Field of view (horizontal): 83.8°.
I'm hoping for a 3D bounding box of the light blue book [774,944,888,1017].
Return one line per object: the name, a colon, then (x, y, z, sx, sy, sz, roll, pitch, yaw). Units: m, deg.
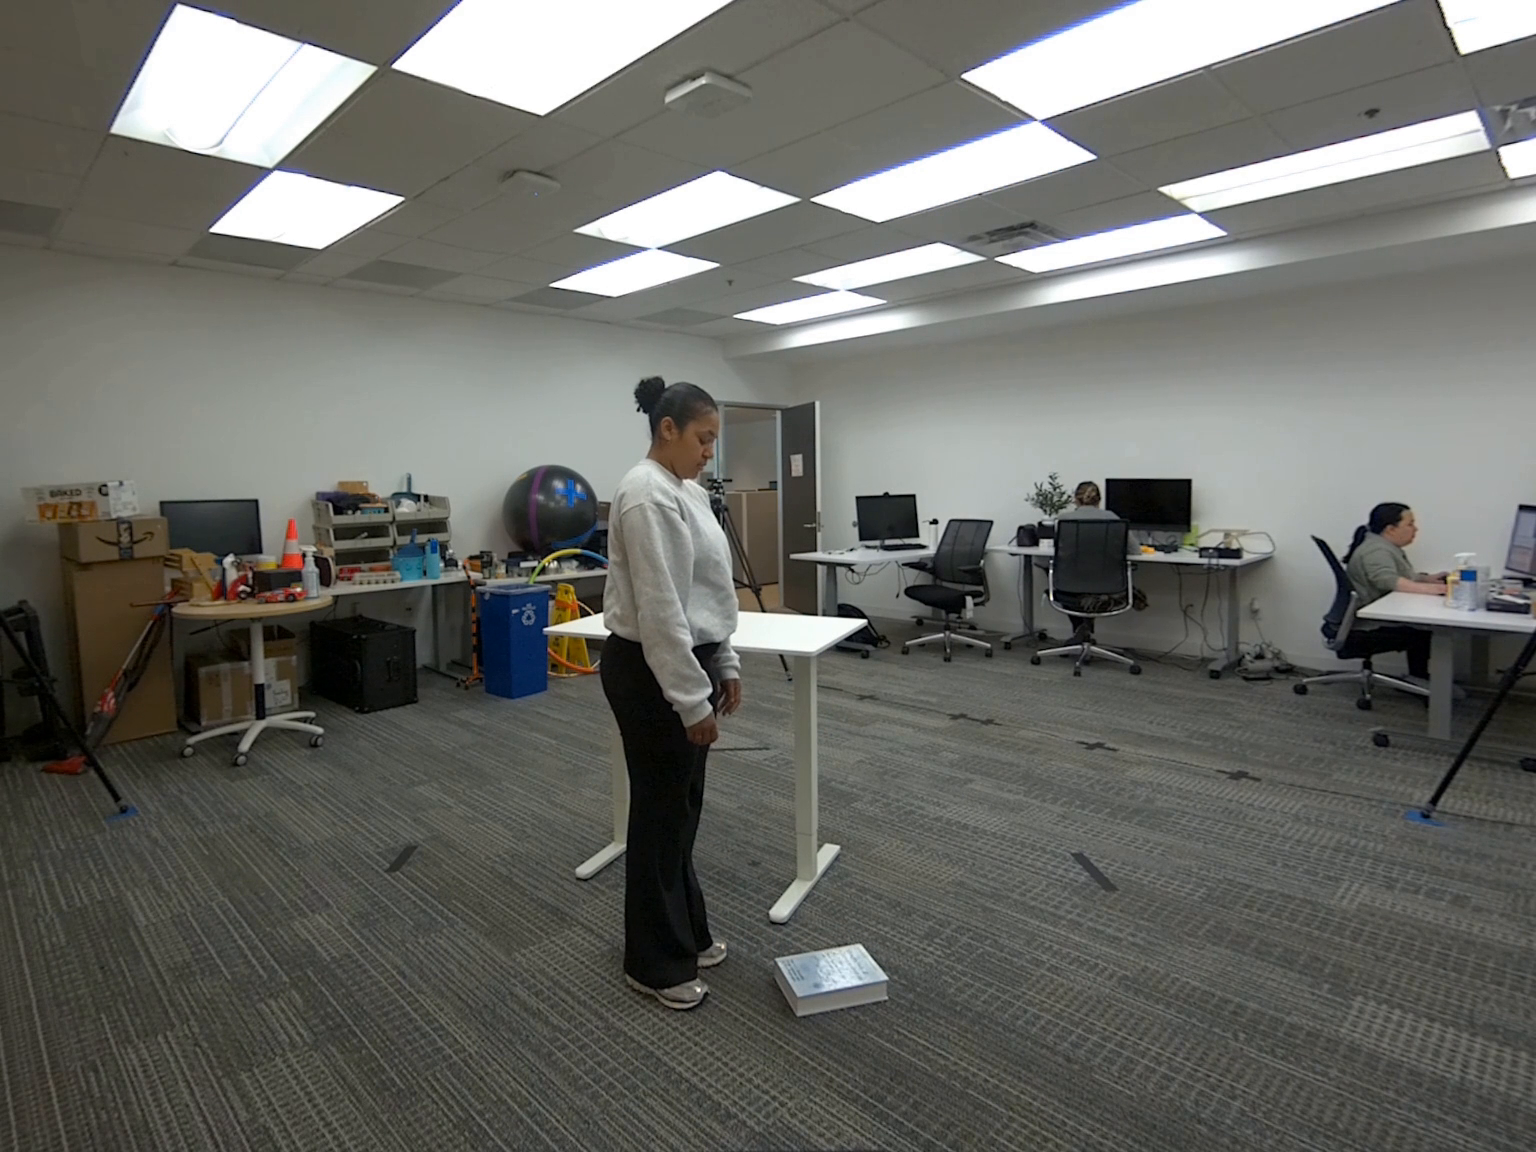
light blue book: (0.170, 1.094, 2.339, 0.257, 0.059, 0.195, -3, 7, -16)
